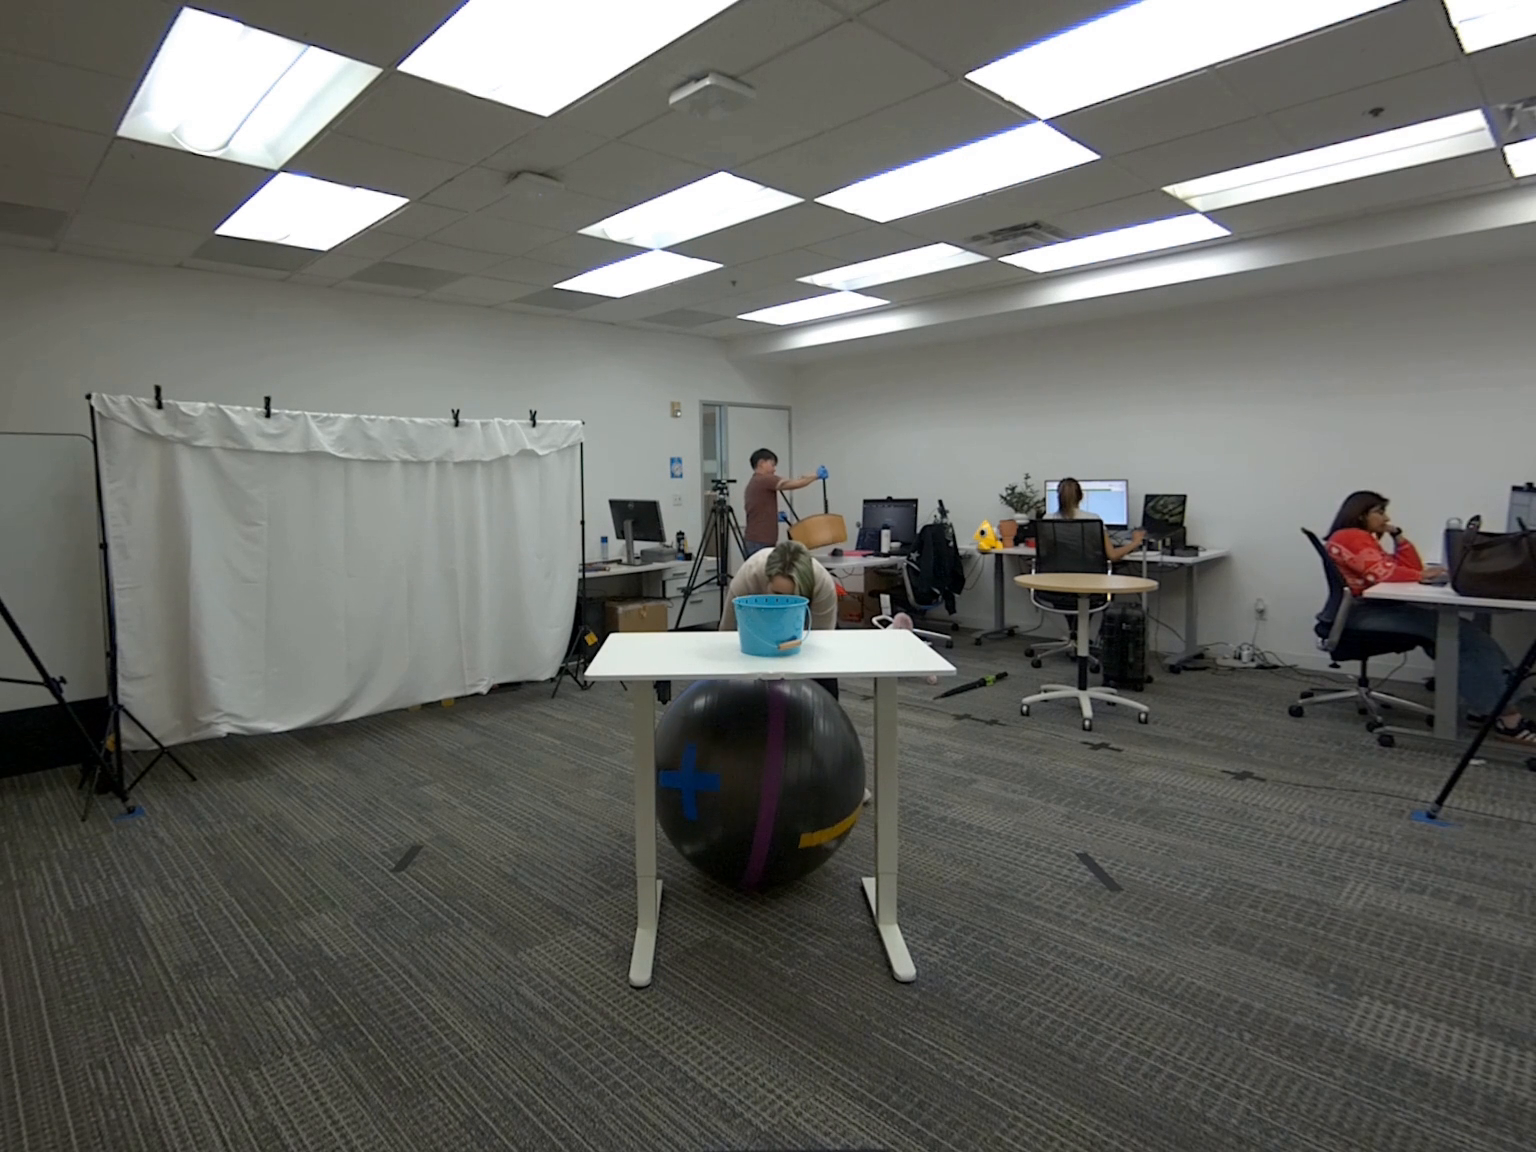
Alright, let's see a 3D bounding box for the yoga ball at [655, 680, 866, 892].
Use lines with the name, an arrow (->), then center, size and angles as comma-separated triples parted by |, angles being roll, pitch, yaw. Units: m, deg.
yoga ball -> -0.041, 0.689, 3.003 | 0.757, 0.755, 0.762 | -1, 5, -2
